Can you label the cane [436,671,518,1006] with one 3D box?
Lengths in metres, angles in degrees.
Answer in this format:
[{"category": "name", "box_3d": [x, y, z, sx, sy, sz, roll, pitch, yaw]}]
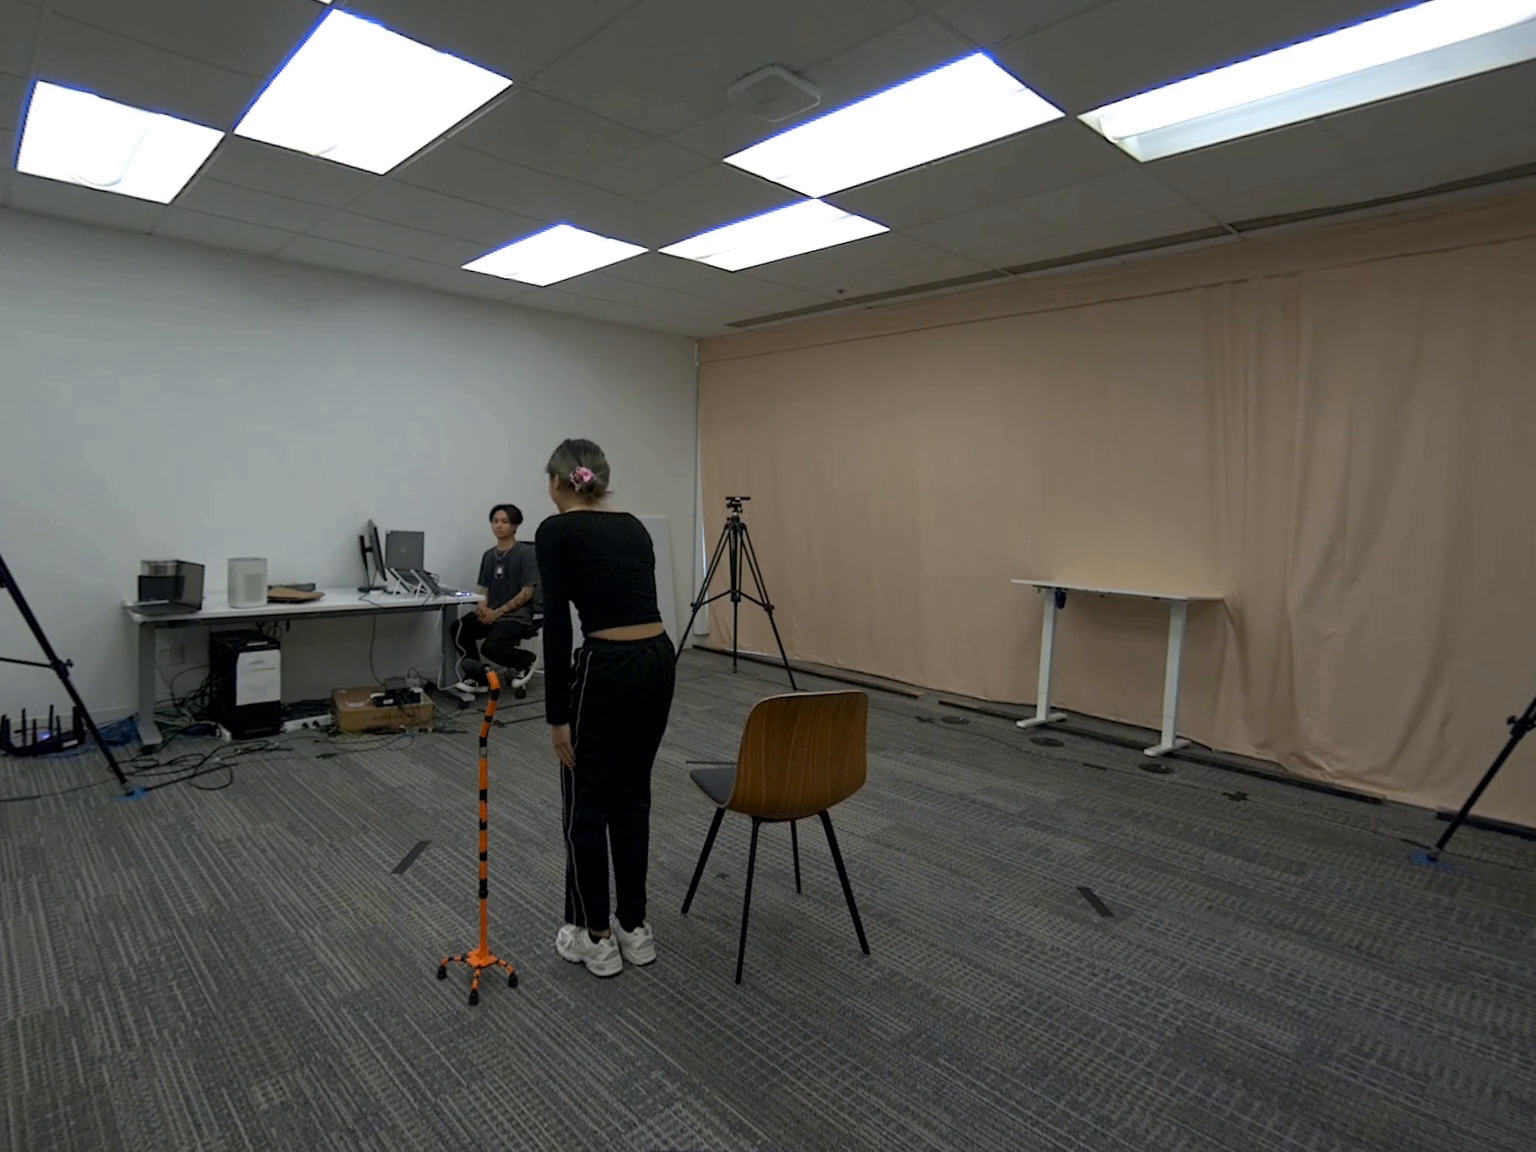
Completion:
[{"category": "cane", "box_3d": [-0.822, 0.705, 2.384, 0.211, 0.906, 0.148, 3, 3, 42]}]
